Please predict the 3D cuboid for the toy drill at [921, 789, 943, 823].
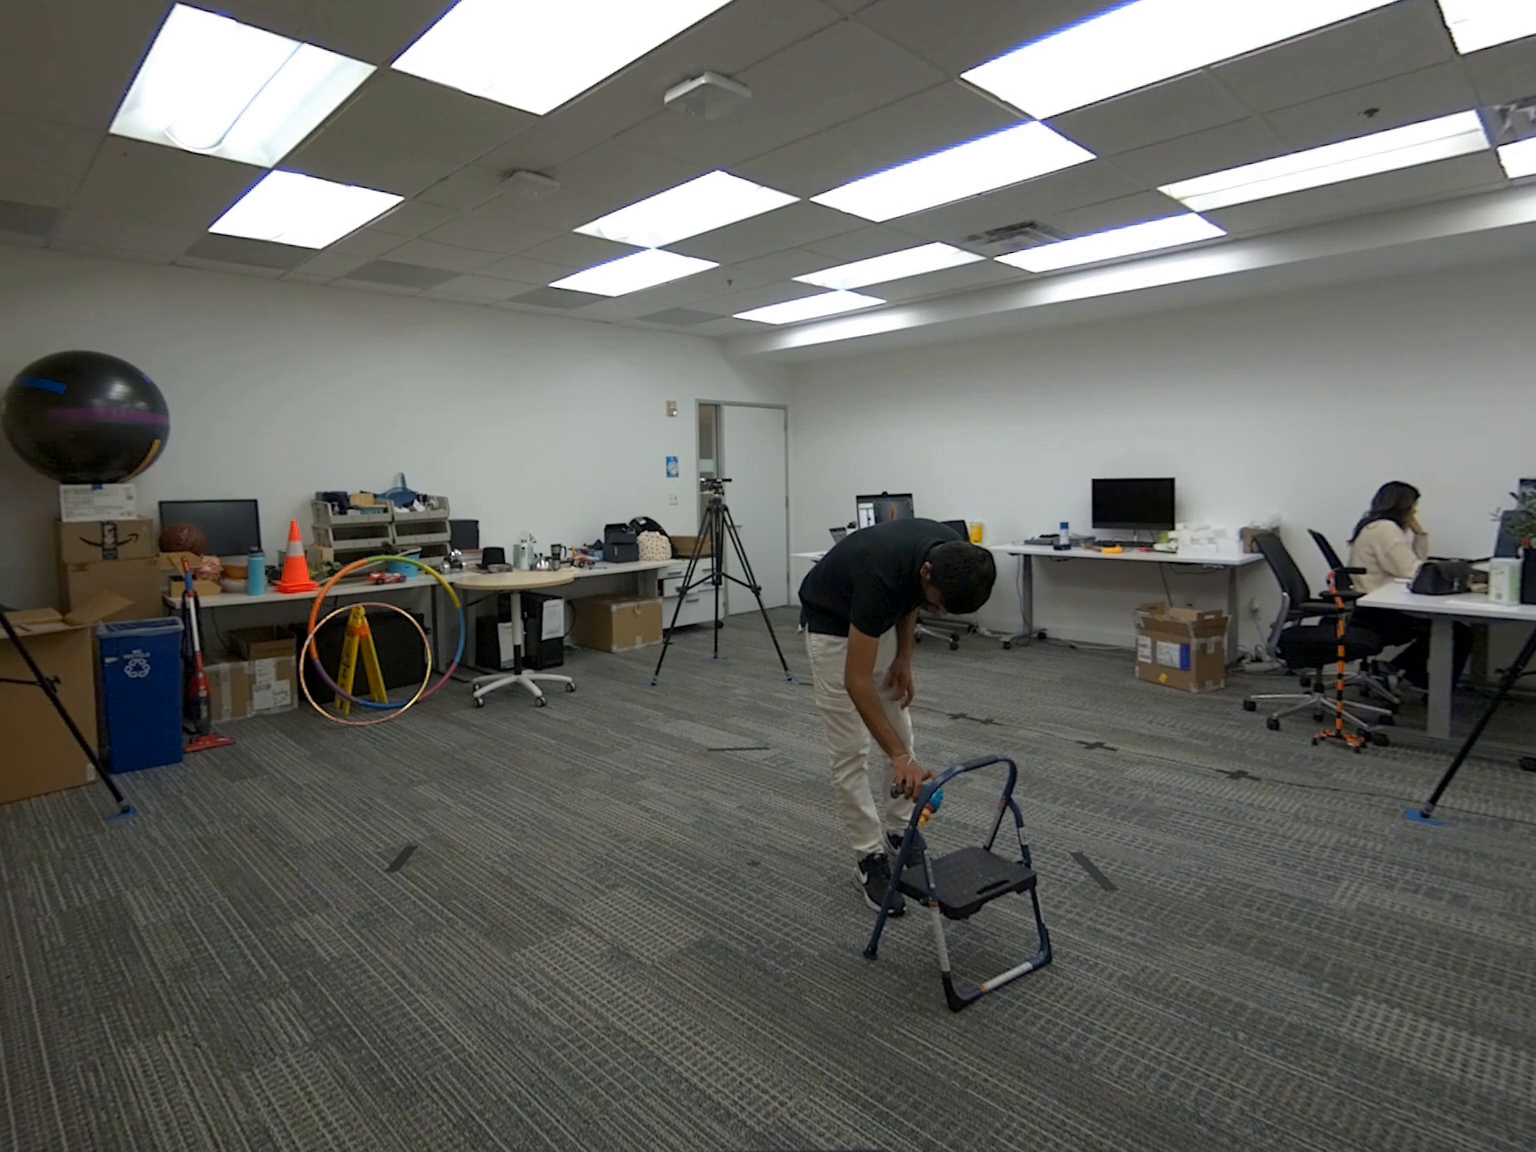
[{"bbox_3d":[0.413,0.642,2.430,0.150,0.059,0.170,2,35,30],"label":"toy drill"}]
